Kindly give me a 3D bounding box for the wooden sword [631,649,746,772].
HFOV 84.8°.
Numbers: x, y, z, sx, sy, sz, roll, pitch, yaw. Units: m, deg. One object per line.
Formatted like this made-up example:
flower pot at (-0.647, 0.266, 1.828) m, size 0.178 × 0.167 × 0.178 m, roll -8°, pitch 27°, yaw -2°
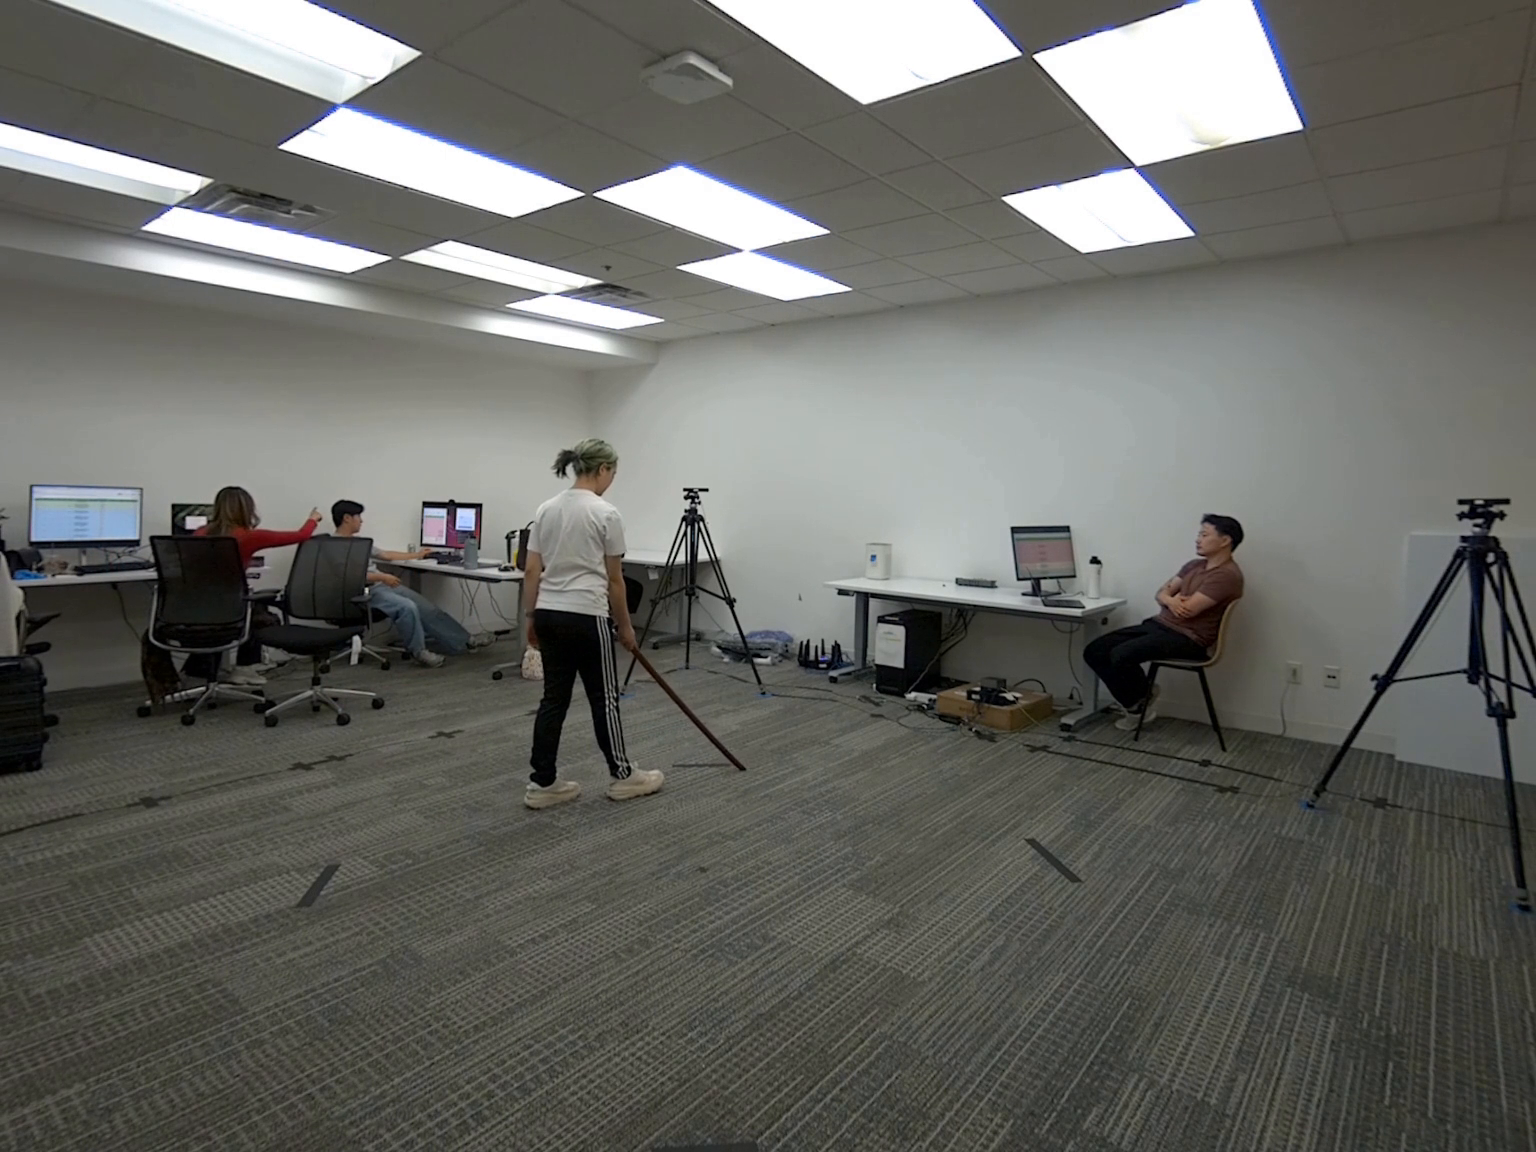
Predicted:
wooden sword at (-0.433, 0.600, 4.070) m, size 0.024 × 0.997 × 0.053 m, roll -47°, pitch 22°, yaw -23°
